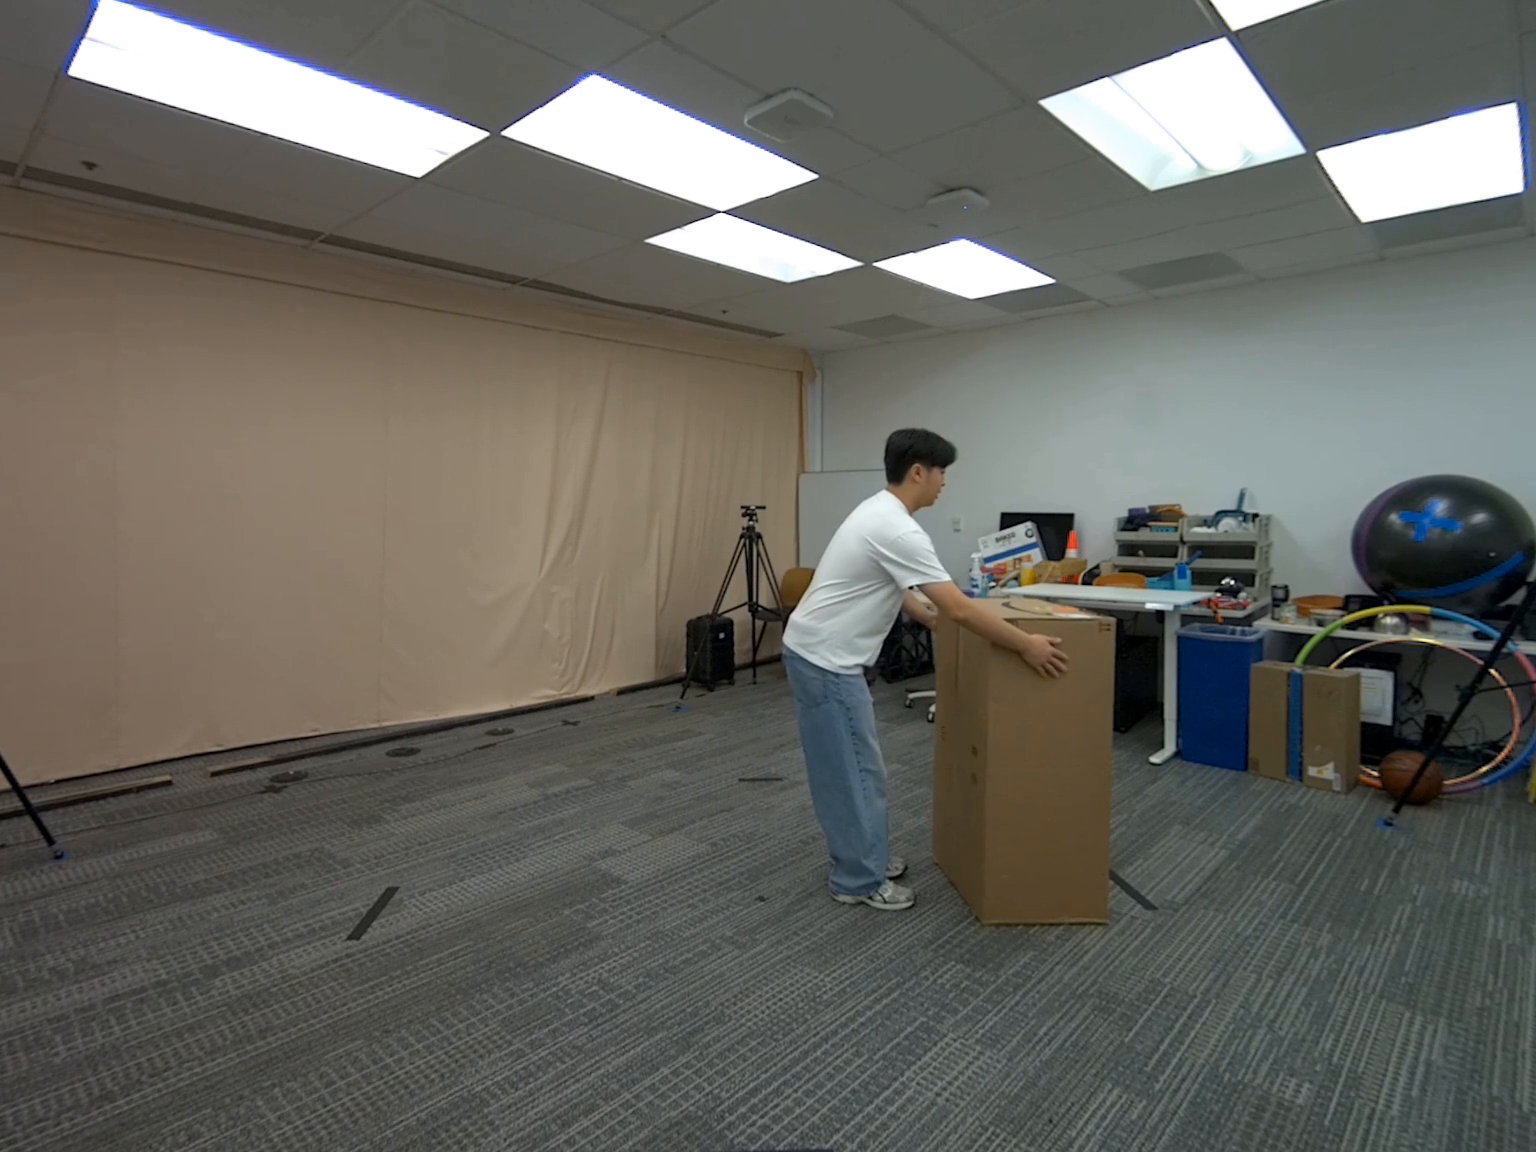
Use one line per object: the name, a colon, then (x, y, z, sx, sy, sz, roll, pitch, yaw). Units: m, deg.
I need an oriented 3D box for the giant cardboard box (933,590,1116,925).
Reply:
giant cardboard box: (0.899, 0.625, 3.046, 0.424, 1.024, 0.581, 0, 3, -5)
